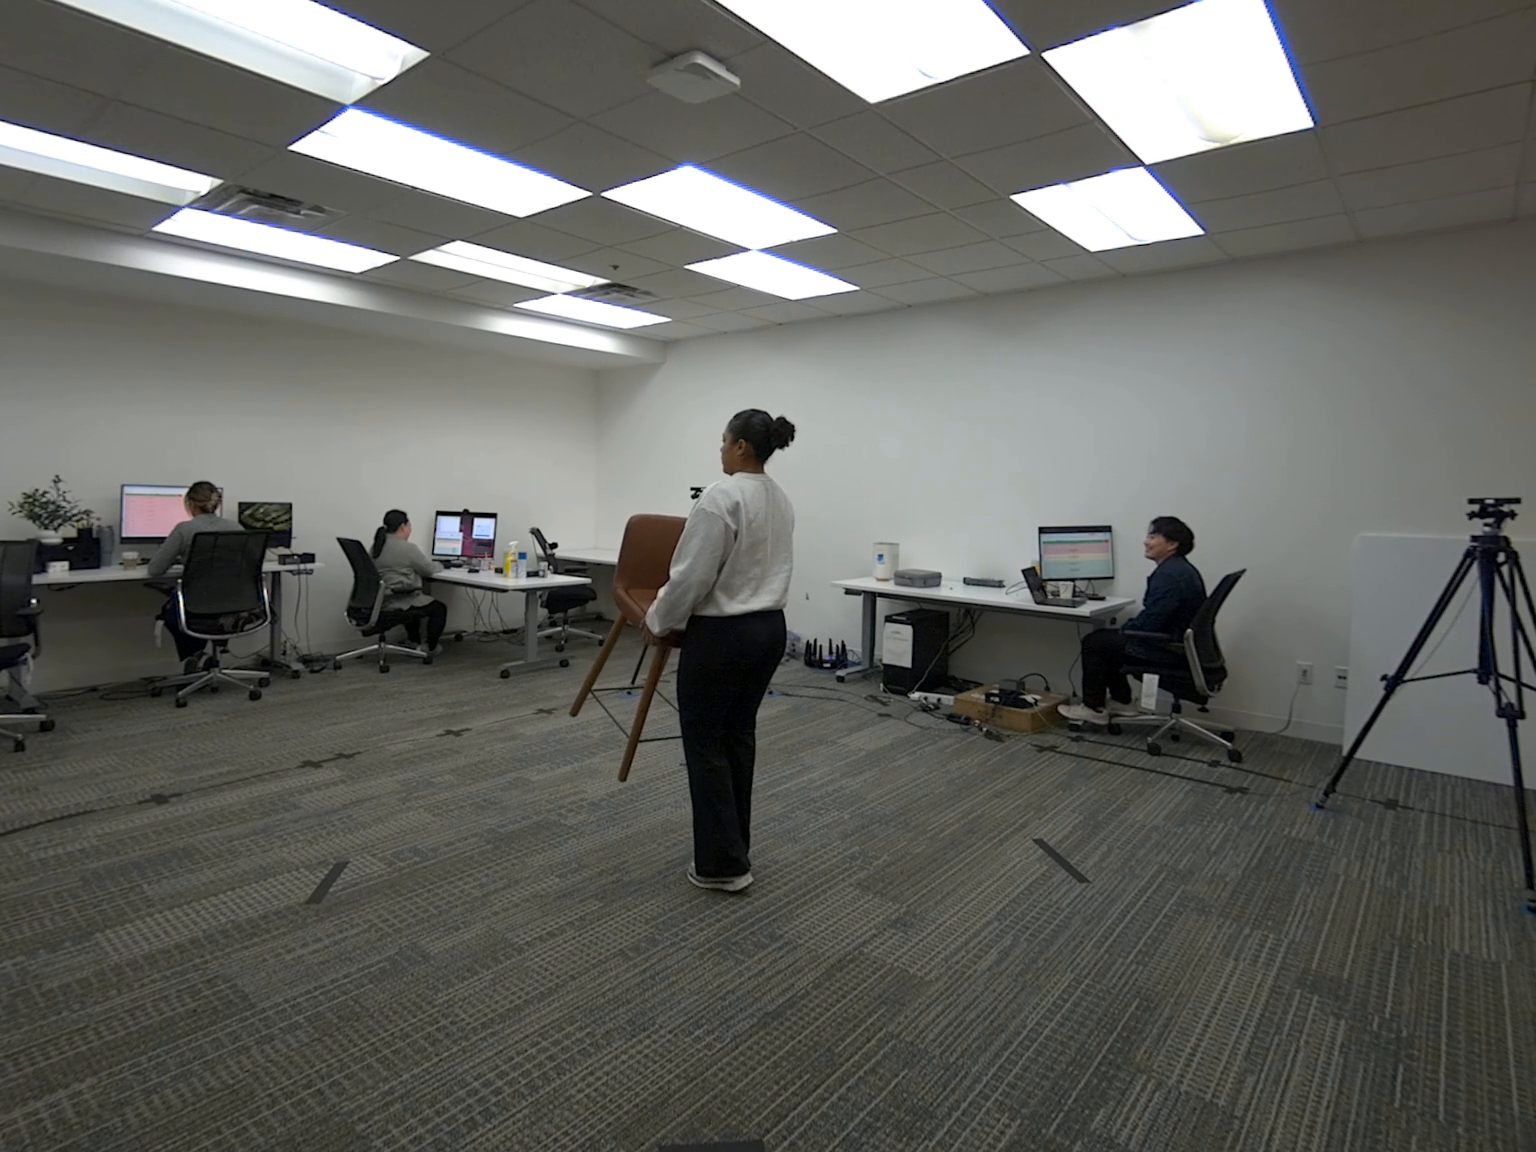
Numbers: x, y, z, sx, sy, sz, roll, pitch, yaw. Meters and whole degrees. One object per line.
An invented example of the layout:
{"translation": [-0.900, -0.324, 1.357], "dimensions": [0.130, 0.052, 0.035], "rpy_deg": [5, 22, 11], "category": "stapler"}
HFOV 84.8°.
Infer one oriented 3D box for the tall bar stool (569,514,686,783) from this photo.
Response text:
{"translation": [-0.402, 0.262, 3.256], "dimensions": [0.441, 0.883, 0.487], "rpy_deg": [5, 18, -43], "category": "tall bar stool"}
